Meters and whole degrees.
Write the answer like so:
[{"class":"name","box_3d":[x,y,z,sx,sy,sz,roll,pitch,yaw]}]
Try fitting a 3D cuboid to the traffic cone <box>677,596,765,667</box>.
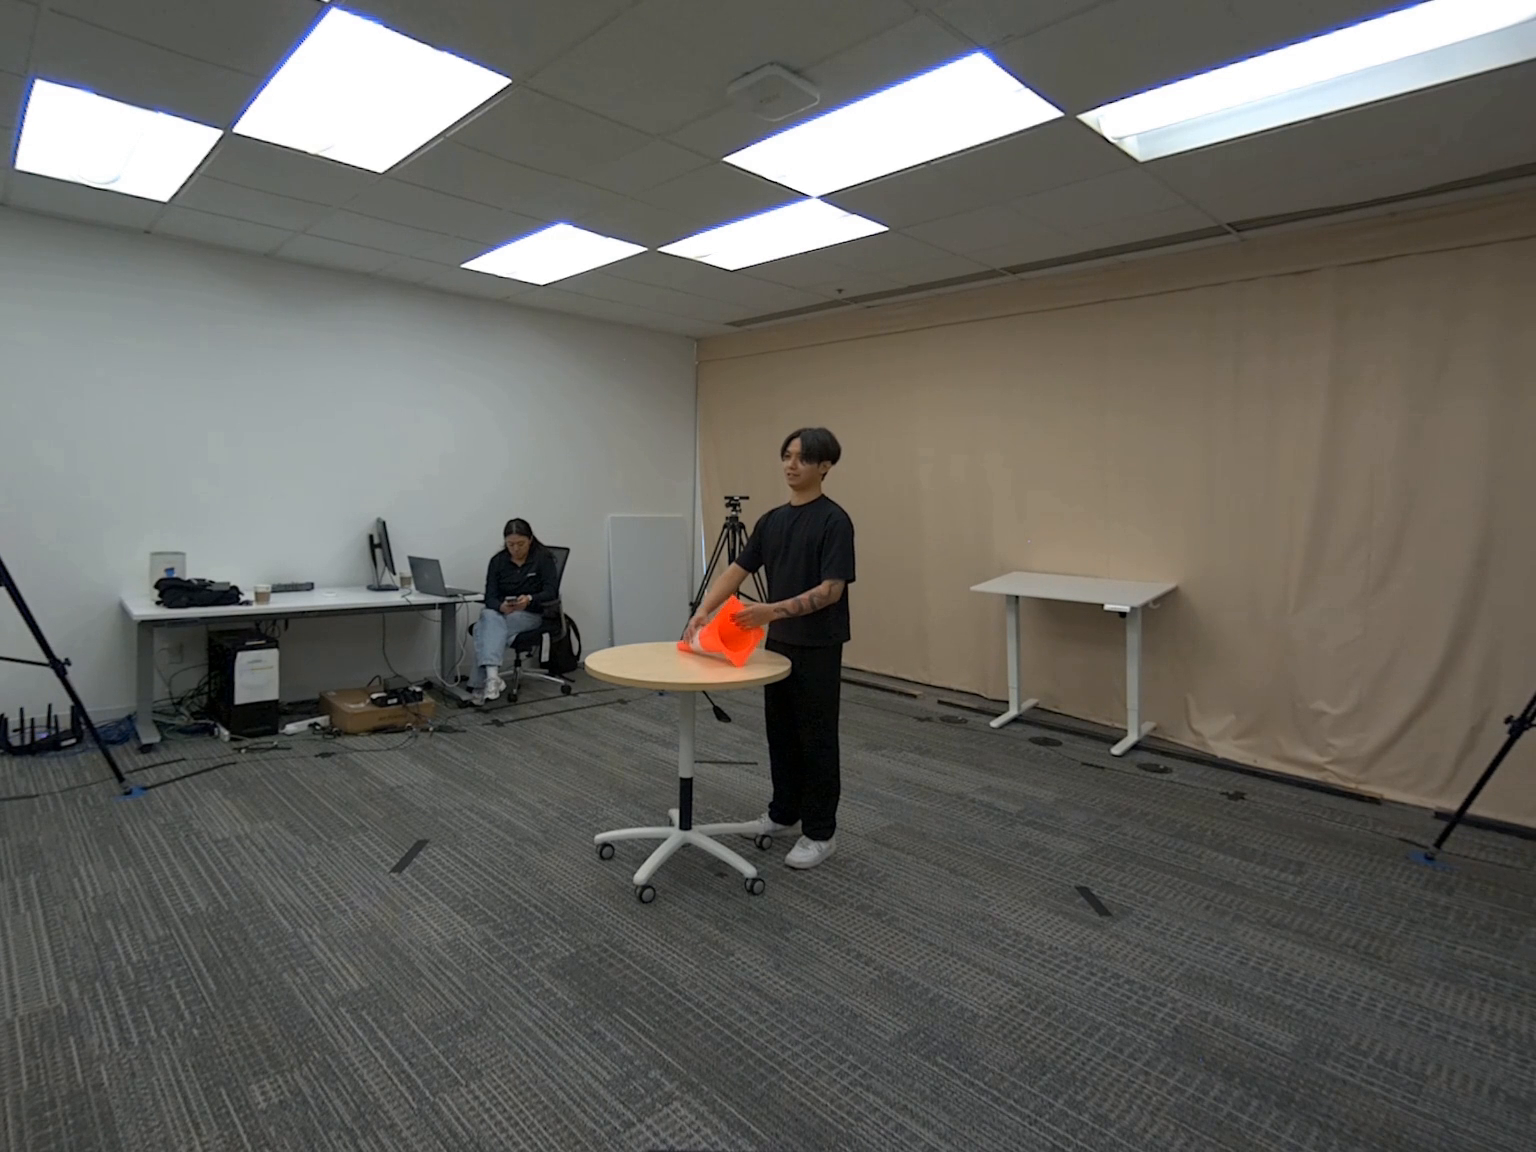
[{"class":"traffic cone","box_3d":[-0.235,0.242,3.206,0.389,0.200,0.205,-19,23,49]}]
